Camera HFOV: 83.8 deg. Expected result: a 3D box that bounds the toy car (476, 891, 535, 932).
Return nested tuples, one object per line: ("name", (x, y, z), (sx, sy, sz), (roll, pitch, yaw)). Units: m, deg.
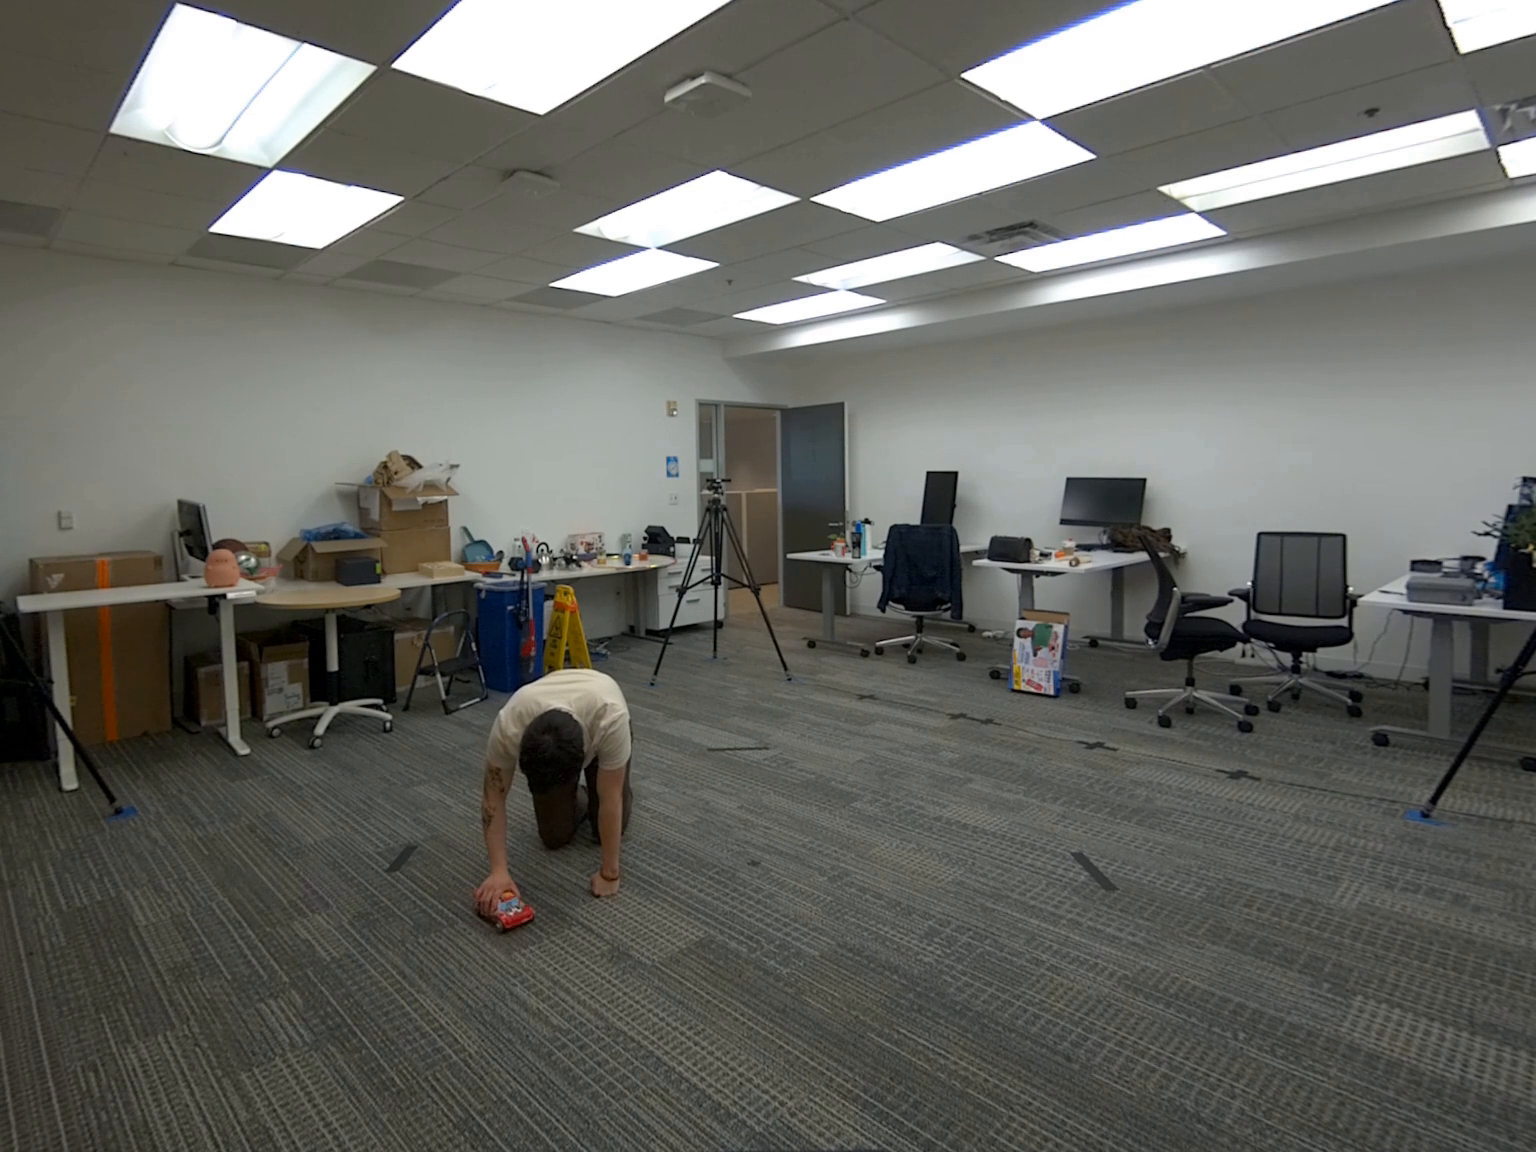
("toy car", (-0.867, 1.077, 2.768), (0.127, 0.082, 0.264), (-8, 17, -41))
